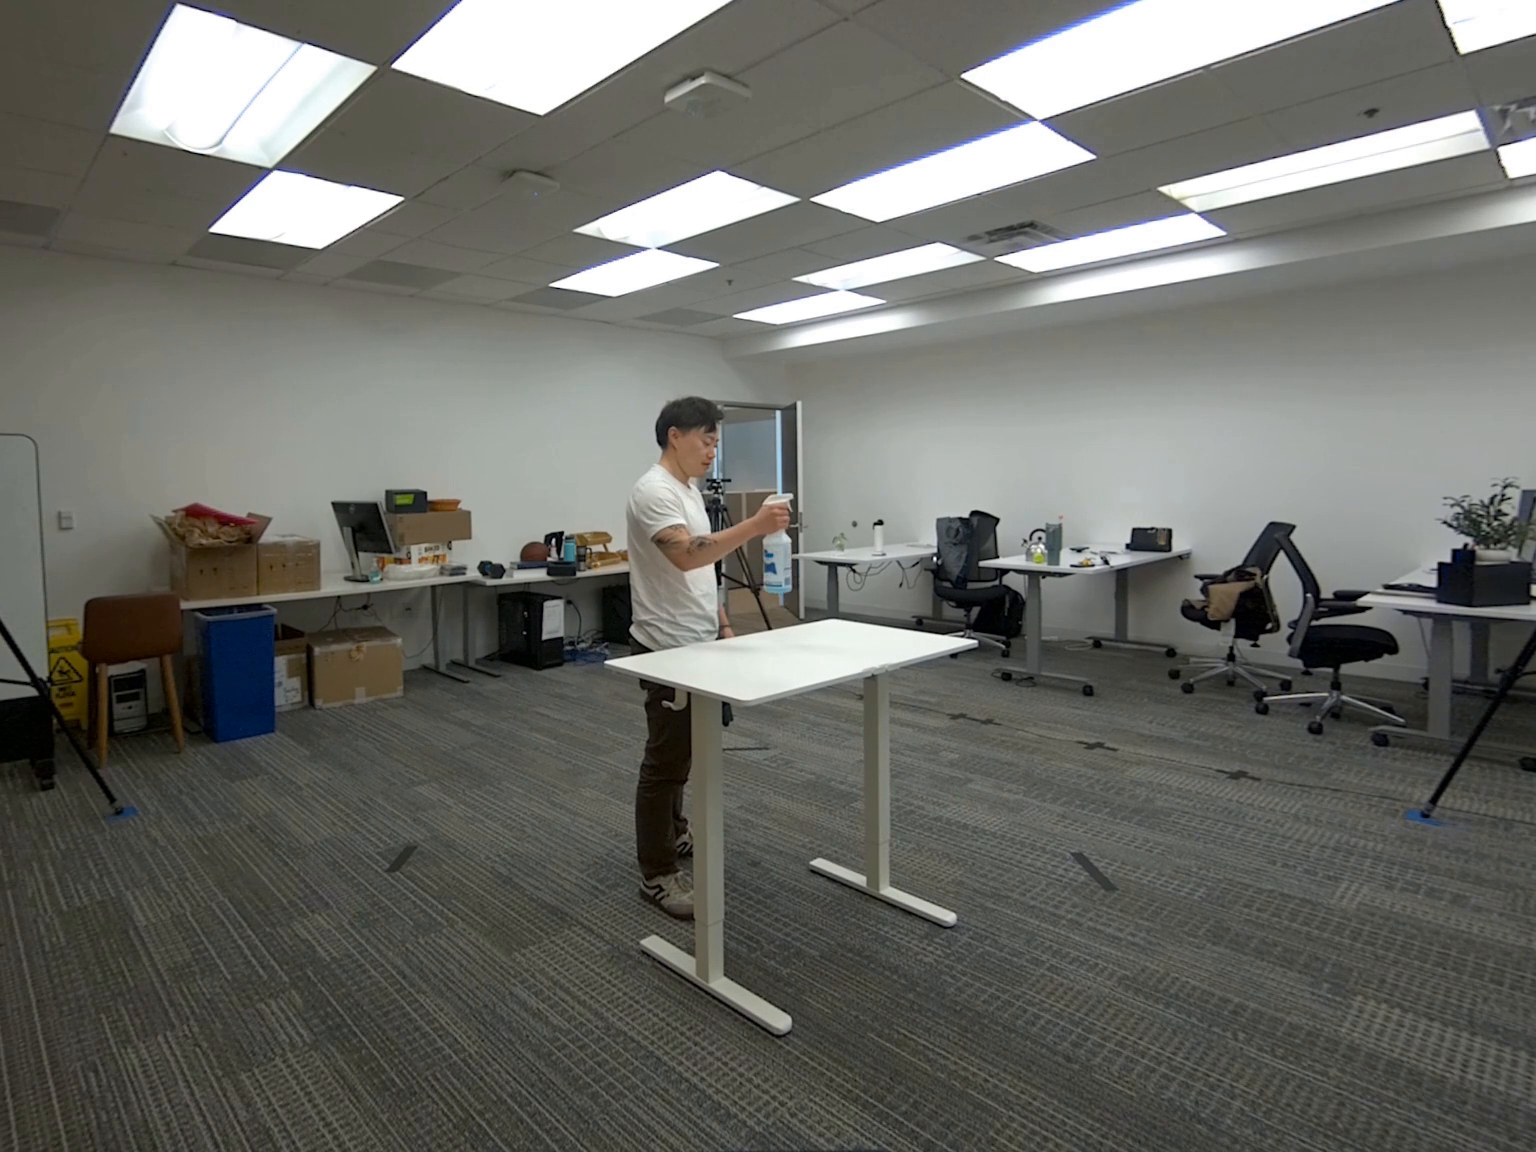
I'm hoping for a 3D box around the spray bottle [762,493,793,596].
[{"bbox_3d":[0.028,-0.094,2.592,0.092,0.295,0.086,2,9,19],"label":"spray bottle"}]
